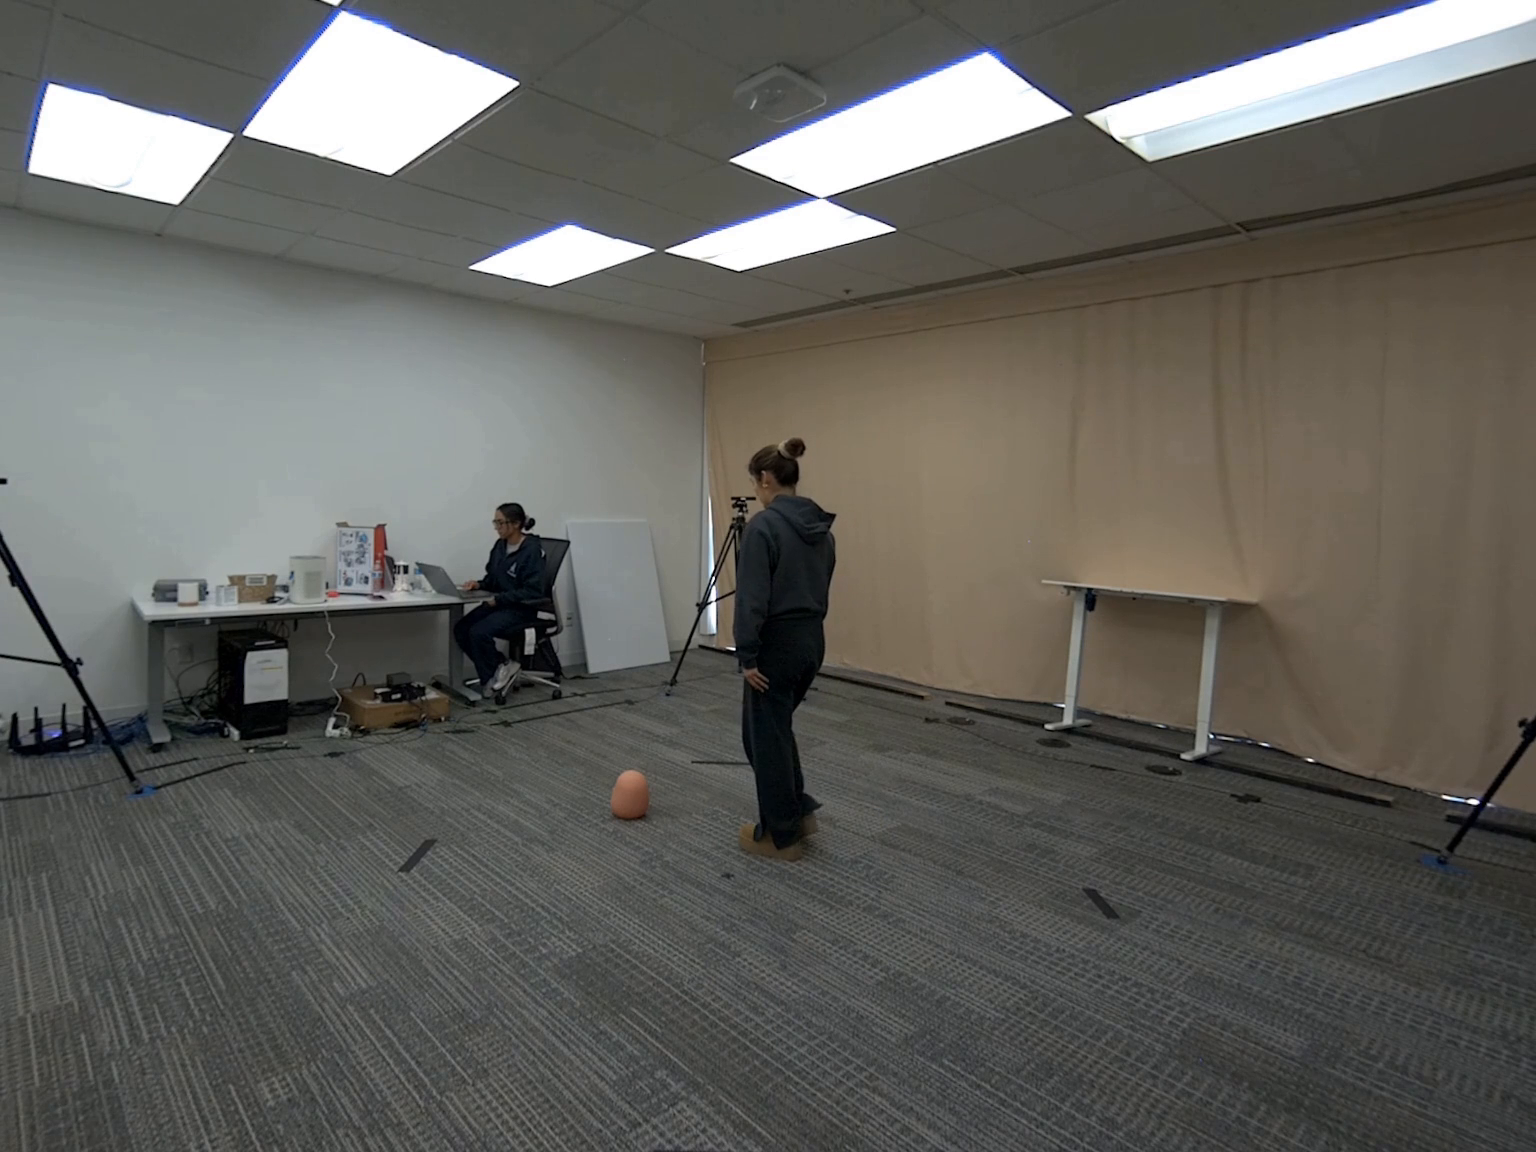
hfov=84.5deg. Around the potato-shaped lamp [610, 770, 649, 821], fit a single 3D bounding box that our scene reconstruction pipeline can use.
[{"bbox_3d":[-0.610,0.942,3.678,0.161,0.197,0.176,-1,6,-36],"label":"potato-shaped lamp"}]
